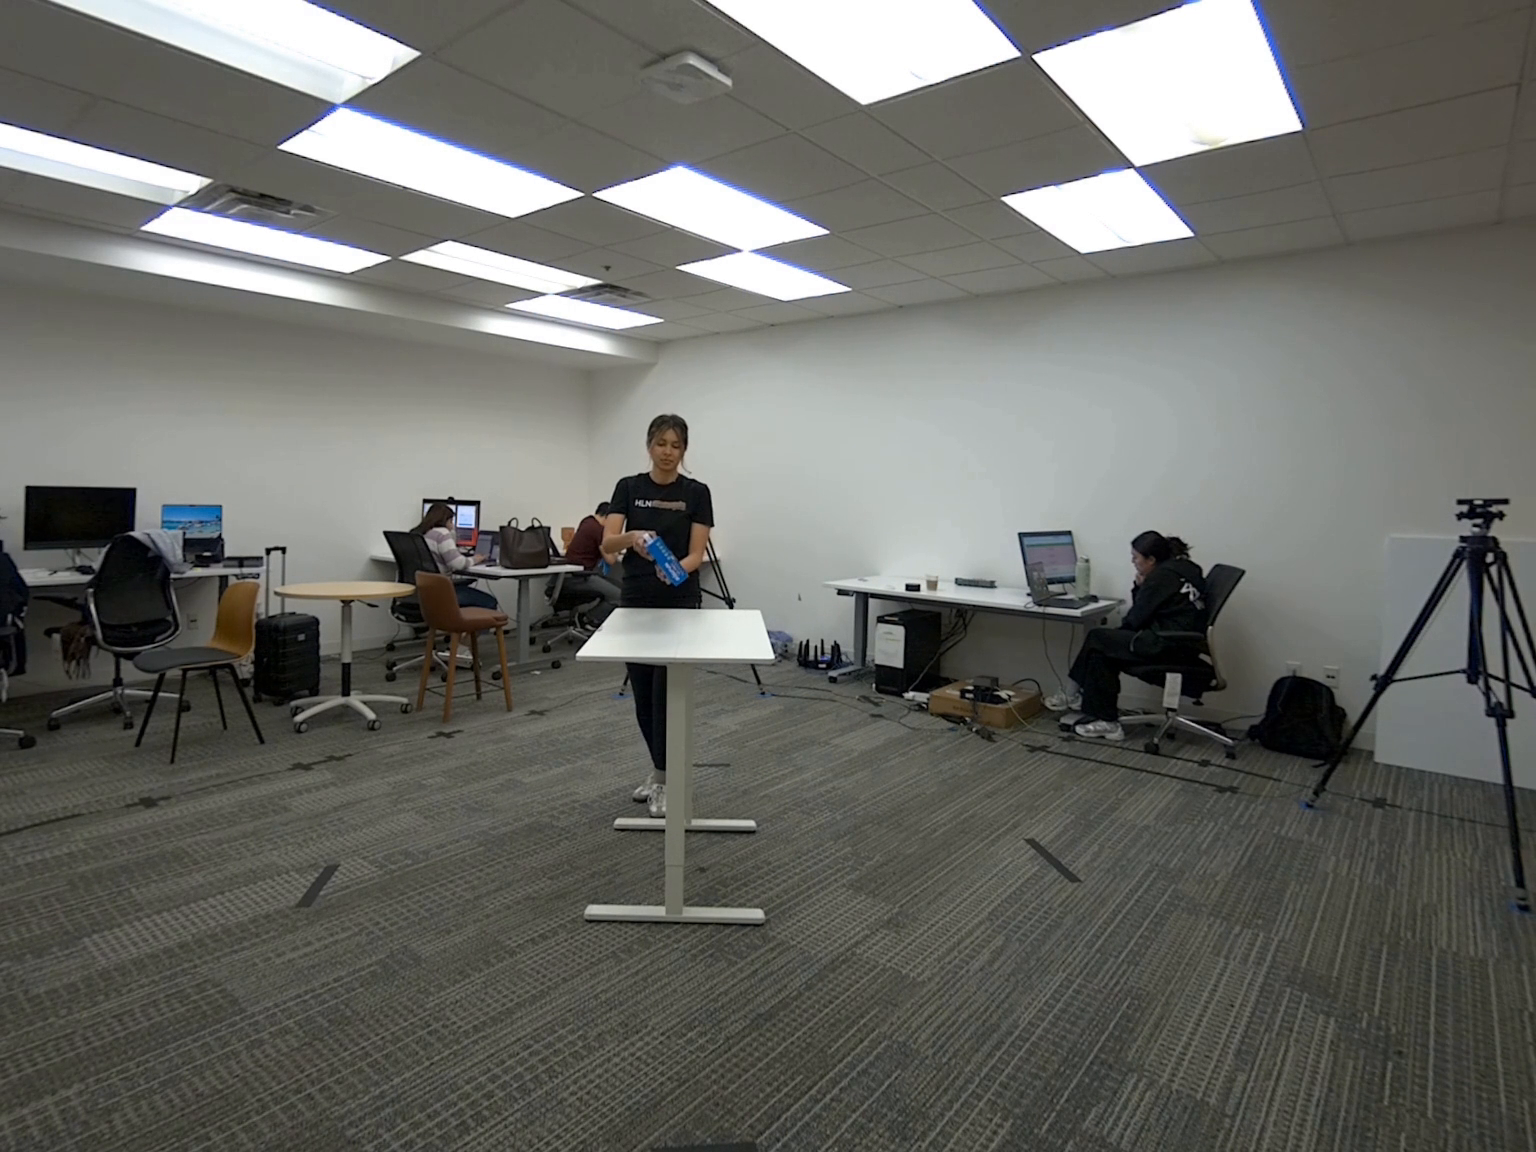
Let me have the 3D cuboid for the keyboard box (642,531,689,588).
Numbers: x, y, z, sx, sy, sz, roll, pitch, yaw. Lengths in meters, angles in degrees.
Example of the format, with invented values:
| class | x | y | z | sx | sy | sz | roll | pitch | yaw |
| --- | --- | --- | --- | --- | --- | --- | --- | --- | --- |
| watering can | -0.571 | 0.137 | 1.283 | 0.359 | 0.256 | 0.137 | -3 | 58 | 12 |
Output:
| class | x | y | z | sx | sy | sz | roll | pitch | yaw |
| --- | --- | --- | --- | --- | --- | --- | --- | --- | --- |
| keyboard box | -0.393 | -0.055 | 3.136 | 0.059 | 0.175 | 0.440 | -38 | 6 | -7 |
